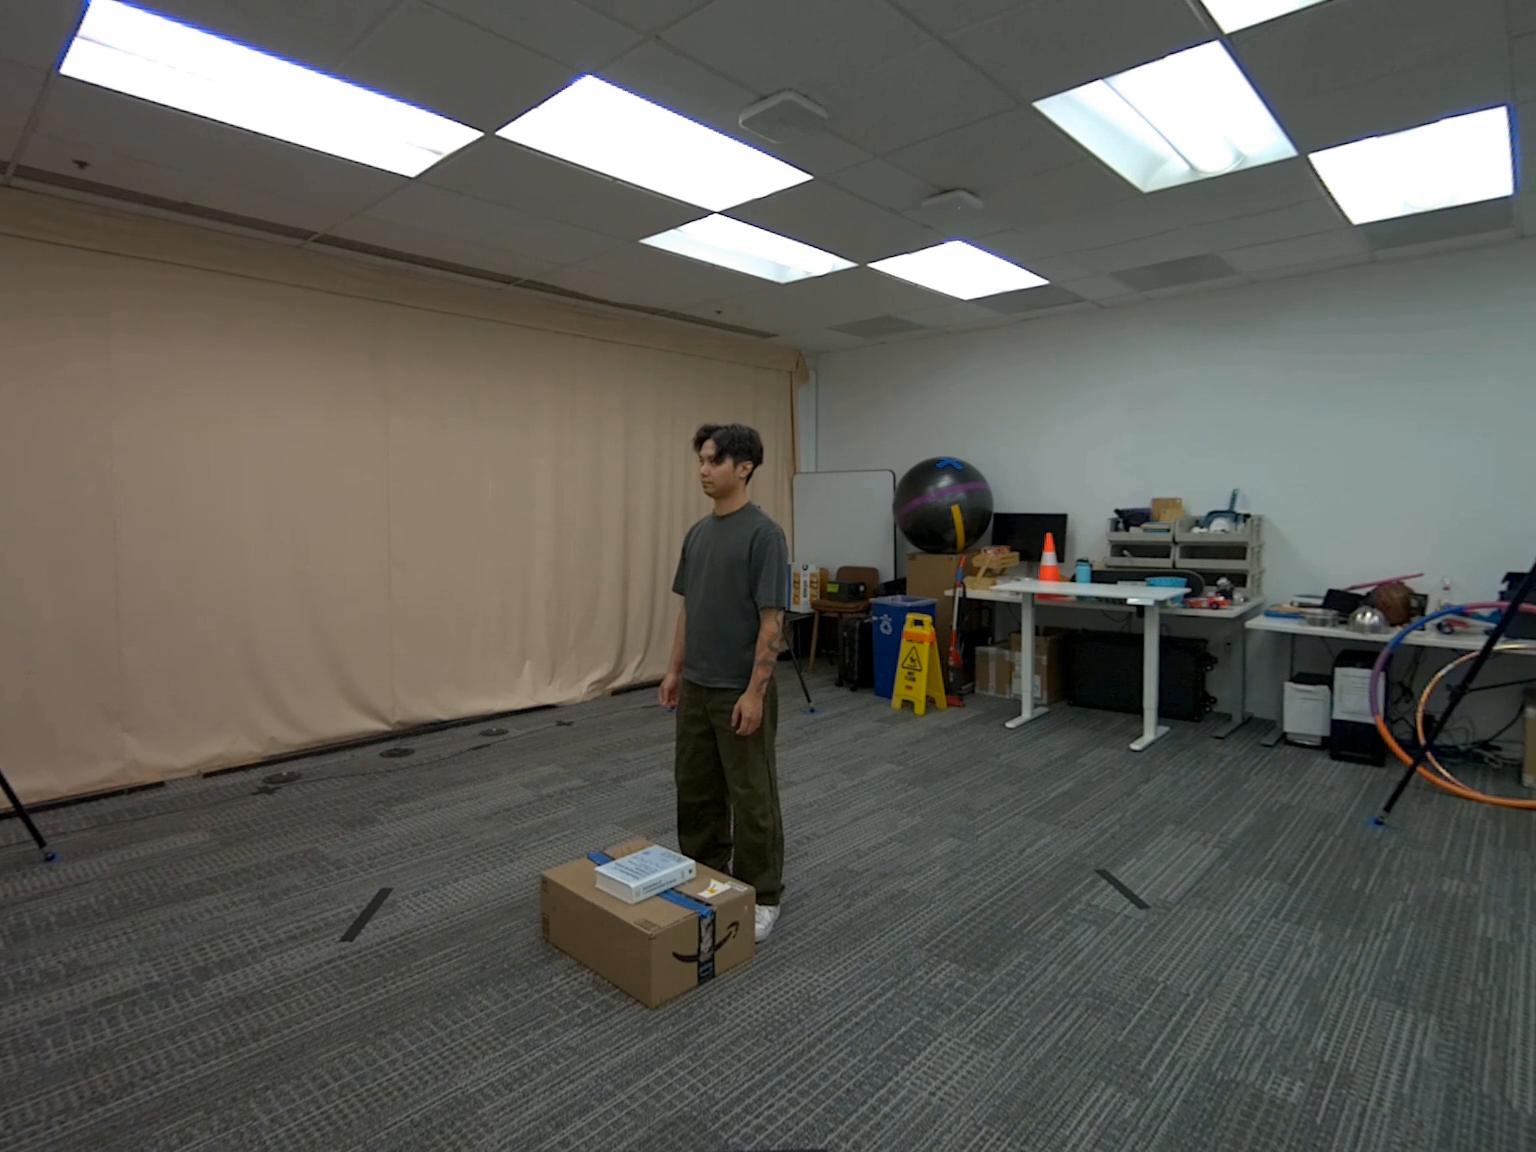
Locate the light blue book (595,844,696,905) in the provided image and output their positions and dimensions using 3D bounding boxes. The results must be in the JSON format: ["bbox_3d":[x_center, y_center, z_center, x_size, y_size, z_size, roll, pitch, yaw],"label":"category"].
[{"bbox_3d":[-0.388,0.935,2.652,0.198,0.059,0.253,3,5,43],"label":"light blue book"}]
